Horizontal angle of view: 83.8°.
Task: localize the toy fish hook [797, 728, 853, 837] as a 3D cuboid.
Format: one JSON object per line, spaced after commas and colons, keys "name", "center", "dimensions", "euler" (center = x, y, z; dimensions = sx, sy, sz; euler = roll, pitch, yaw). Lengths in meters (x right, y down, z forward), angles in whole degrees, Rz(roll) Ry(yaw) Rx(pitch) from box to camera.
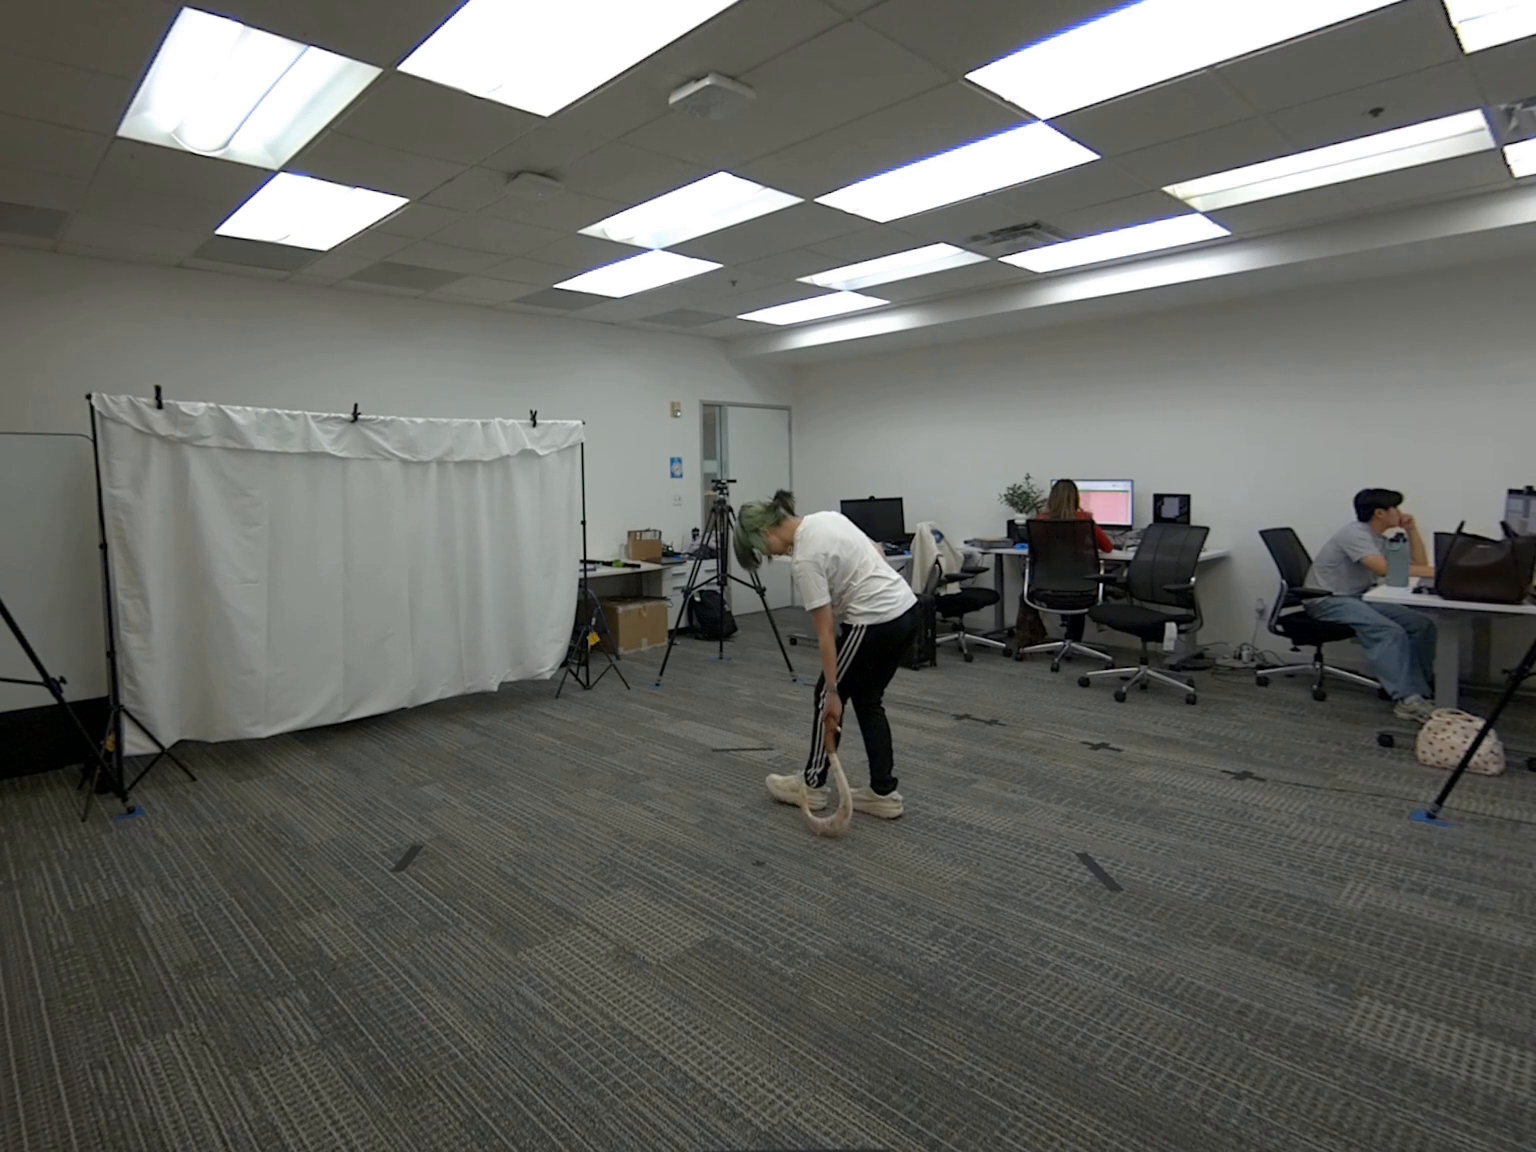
{"name": "toy fish hook", "center": [0.214, 0.771, 3.401], "dimensions": [0.228, 0.516, 0.046], "euler": [-13, -22, 25]}
